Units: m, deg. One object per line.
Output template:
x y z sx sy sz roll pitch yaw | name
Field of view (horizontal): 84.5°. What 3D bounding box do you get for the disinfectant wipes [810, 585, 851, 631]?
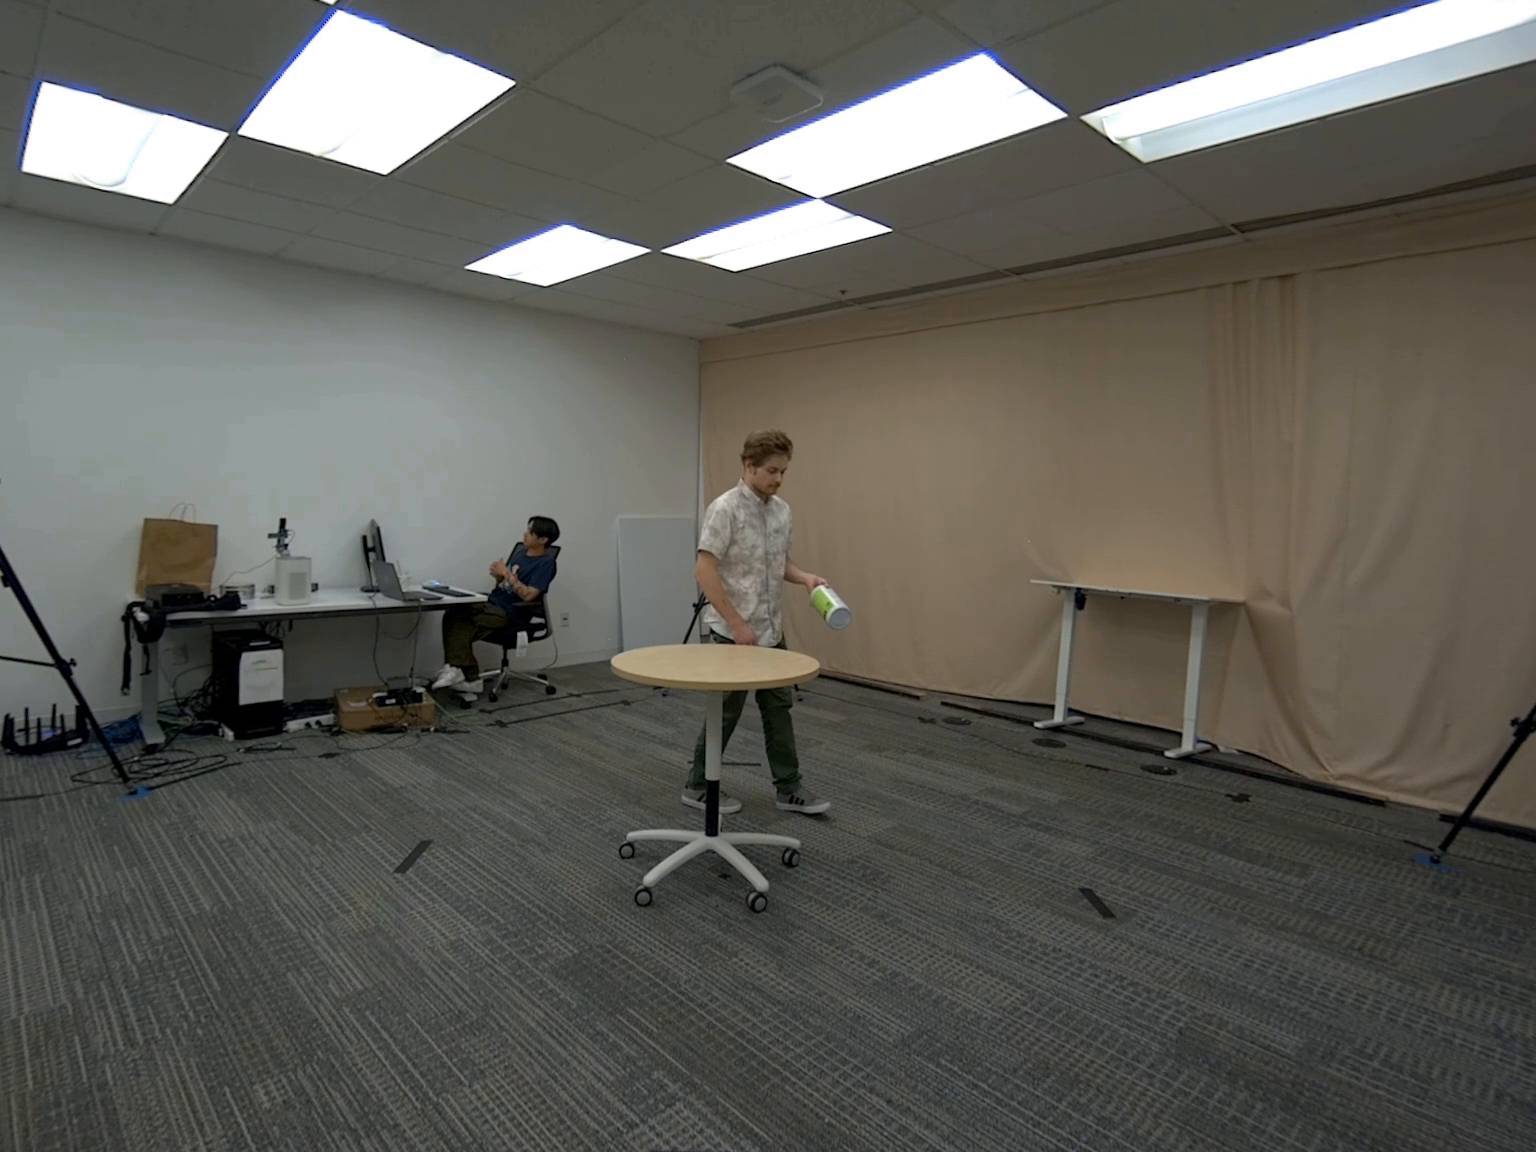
0.266 0.131 3.576 0.116 0.116 0.223 0 22 -16 | disinfectant wipes
